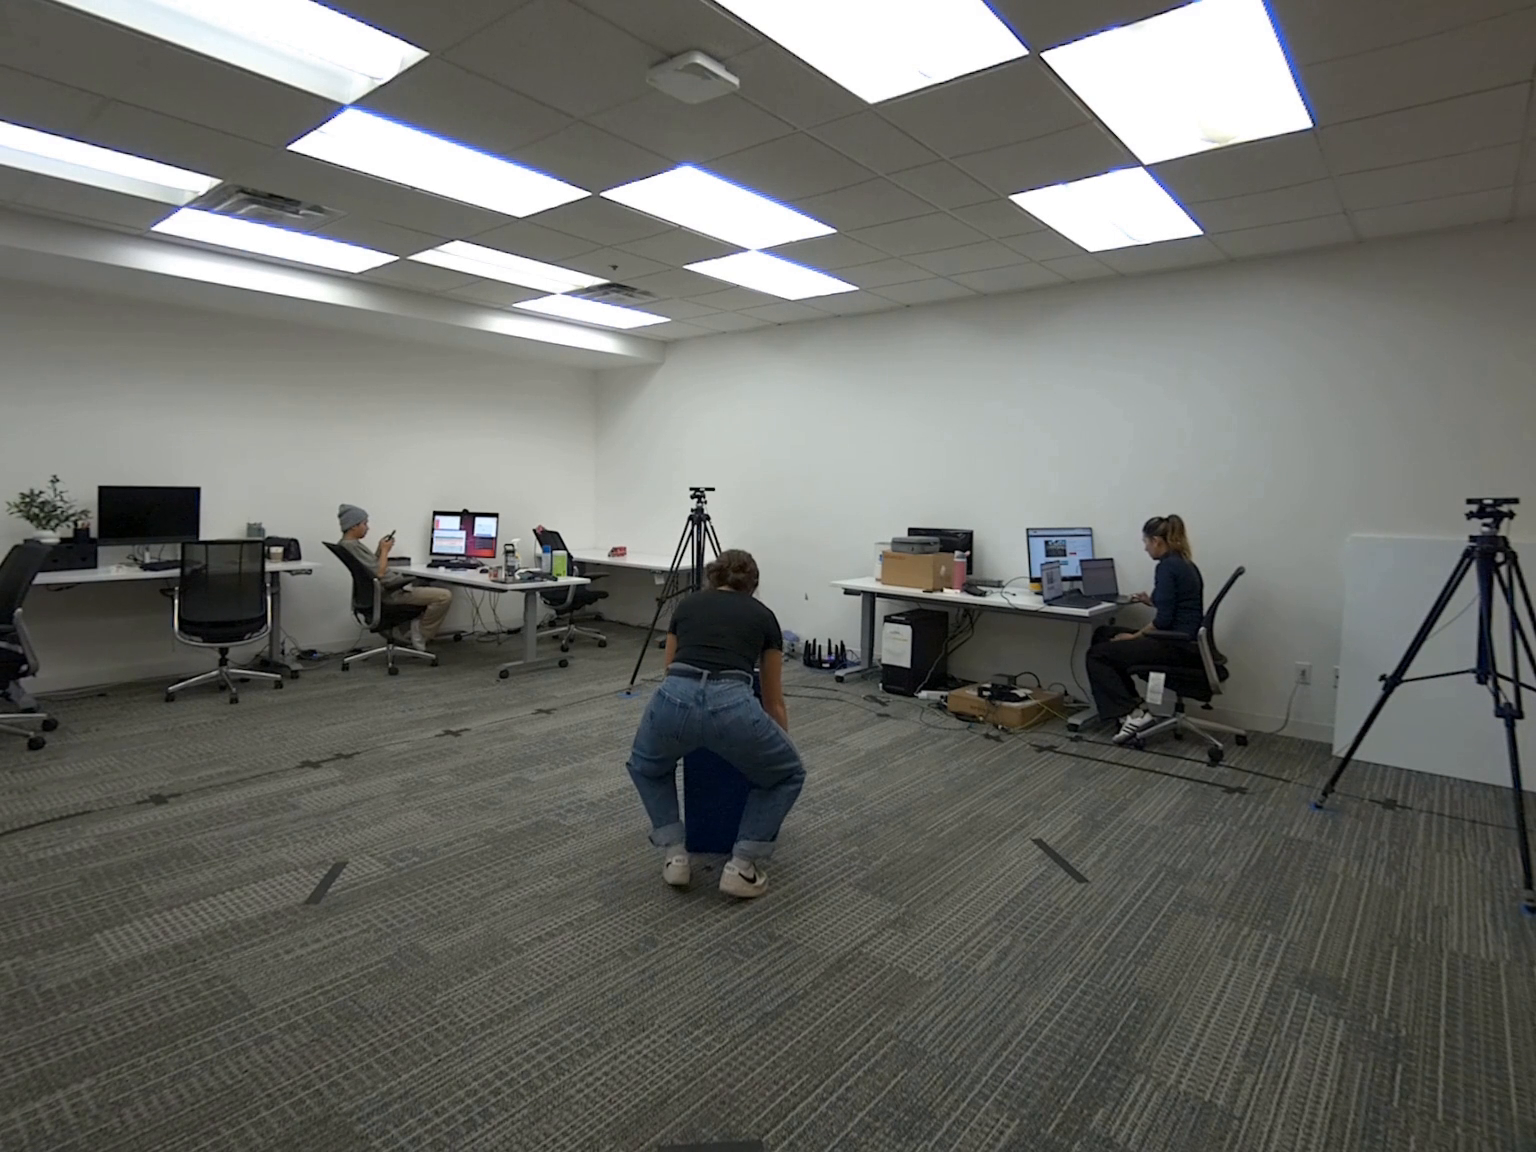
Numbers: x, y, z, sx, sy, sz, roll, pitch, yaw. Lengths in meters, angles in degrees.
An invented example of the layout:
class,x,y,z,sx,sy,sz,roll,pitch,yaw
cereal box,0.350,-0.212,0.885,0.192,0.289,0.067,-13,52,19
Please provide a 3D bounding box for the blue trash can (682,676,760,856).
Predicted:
class,x,y,z,sx,sy,sz,roll,pitch,yaw
blue trash can,-0.183,0.681,3.369,0.375,0.712,0.378,1,3,1
